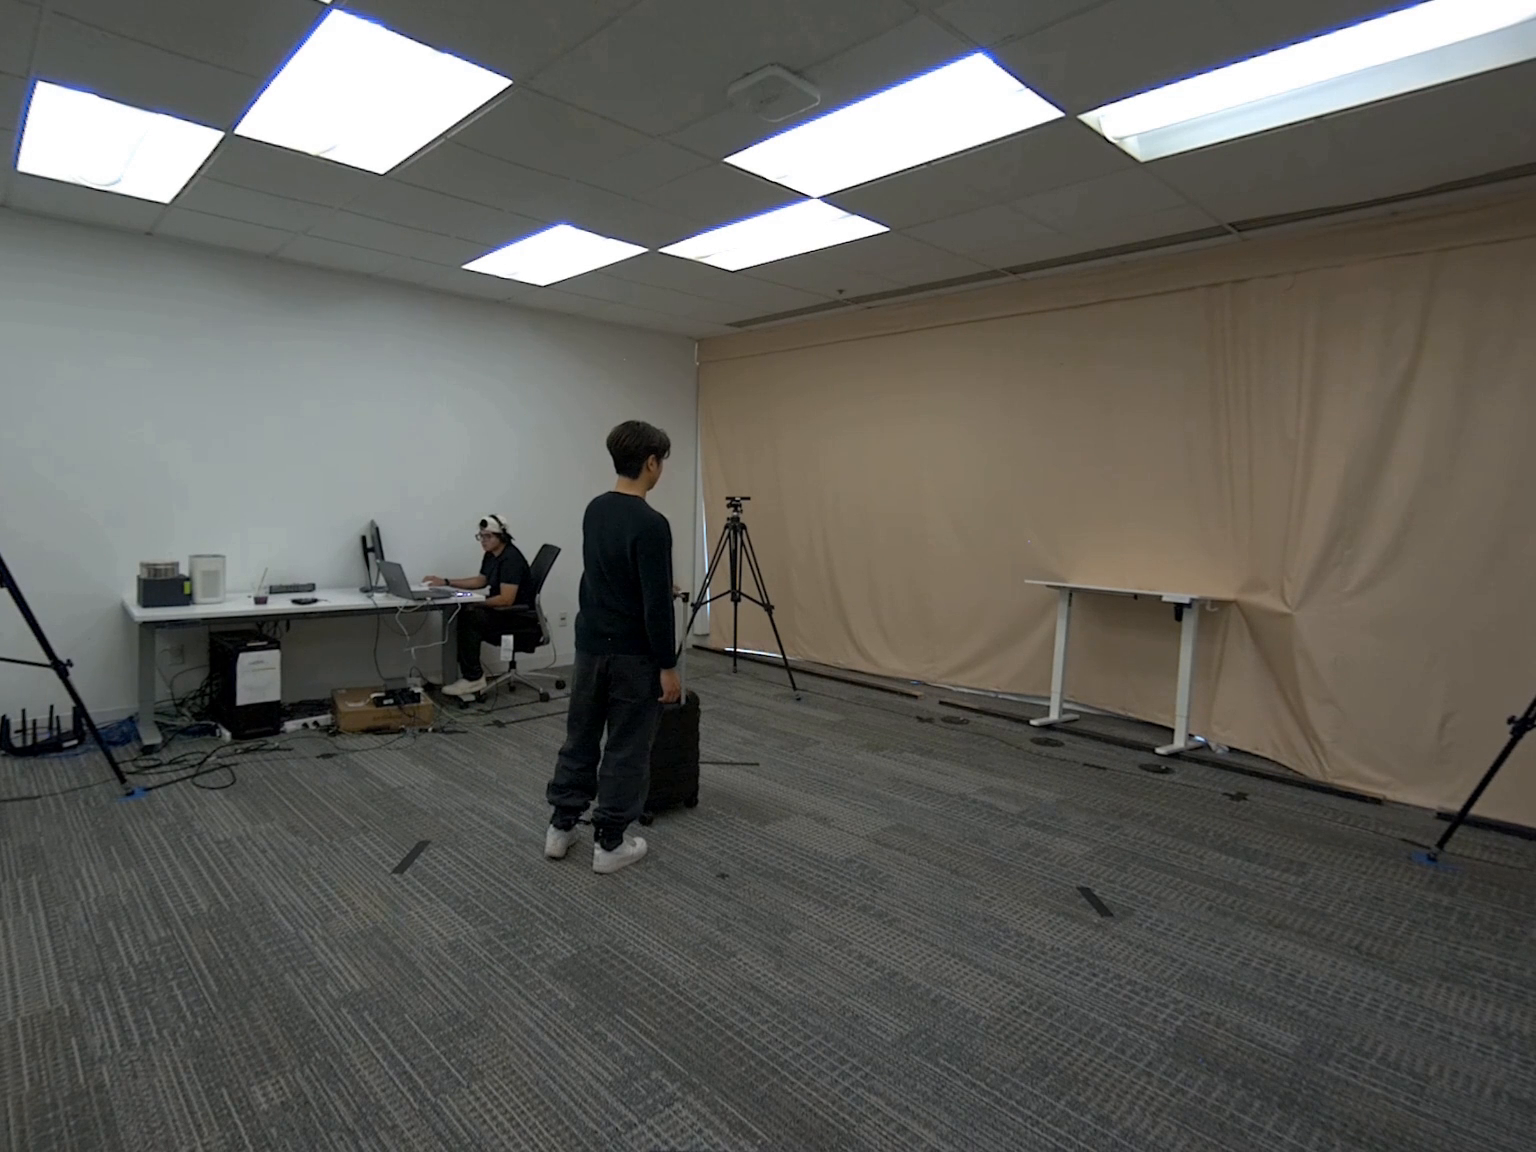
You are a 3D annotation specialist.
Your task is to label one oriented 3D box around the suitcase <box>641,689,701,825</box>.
[{"bbox_3d":[-0.510,0.564,3.751,0.375,0.978,0.263,-1,2,-45],"label":"suitcase"}]
